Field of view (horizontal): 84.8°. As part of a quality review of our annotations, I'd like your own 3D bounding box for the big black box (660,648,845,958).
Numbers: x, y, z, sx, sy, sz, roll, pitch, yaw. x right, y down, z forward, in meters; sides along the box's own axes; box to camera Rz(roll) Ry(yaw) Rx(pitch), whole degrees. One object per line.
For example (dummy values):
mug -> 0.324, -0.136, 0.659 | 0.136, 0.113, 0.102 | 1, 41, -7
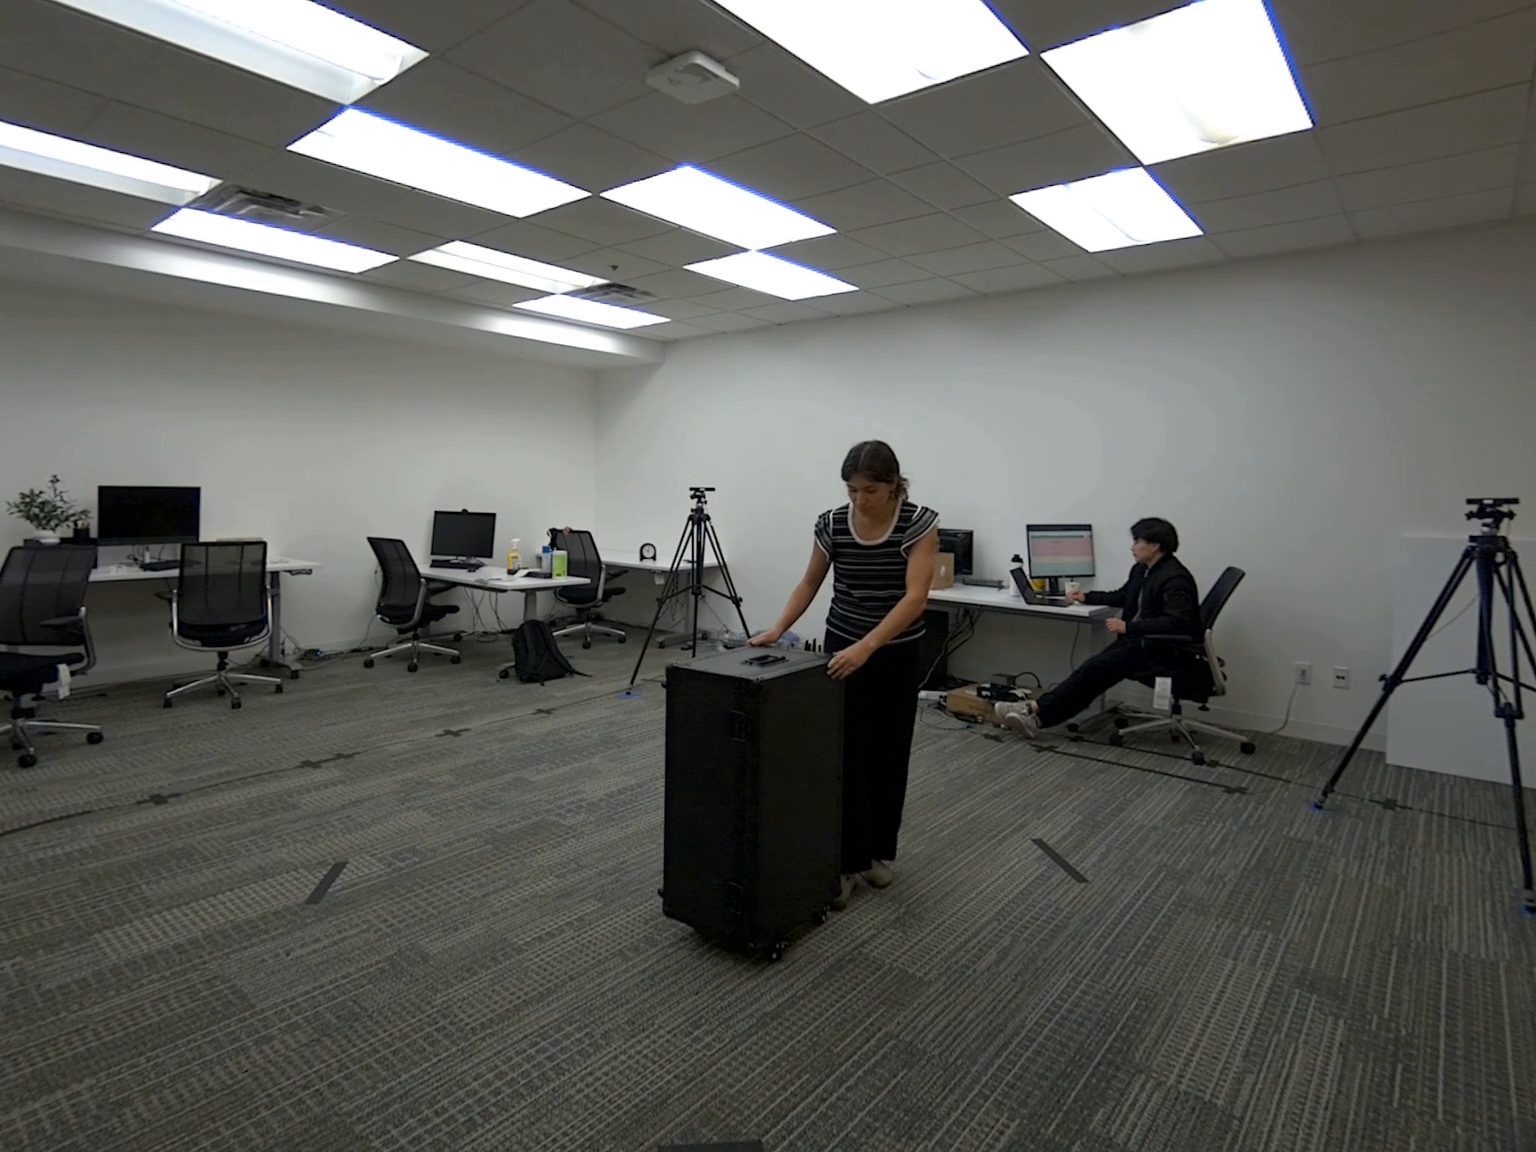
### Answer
big black box -> -0.059, 0.691, 2.680 | 0.409, 0.860, 0.506 | 1, 3, 37
